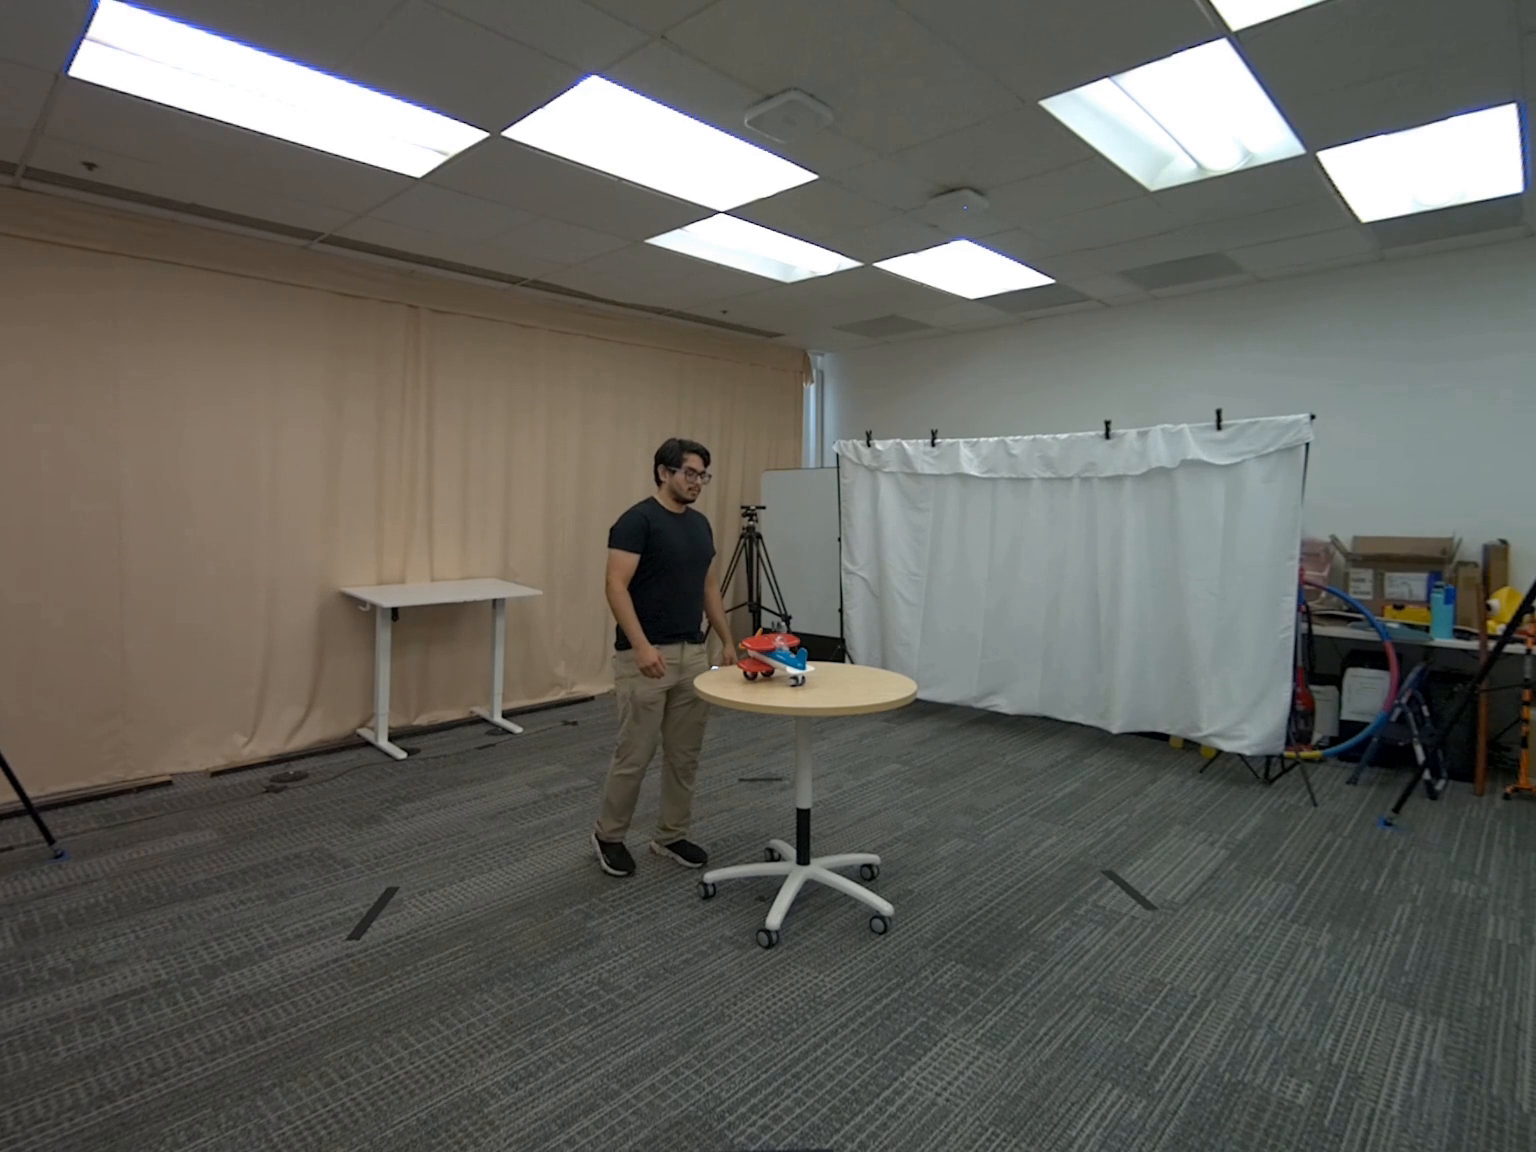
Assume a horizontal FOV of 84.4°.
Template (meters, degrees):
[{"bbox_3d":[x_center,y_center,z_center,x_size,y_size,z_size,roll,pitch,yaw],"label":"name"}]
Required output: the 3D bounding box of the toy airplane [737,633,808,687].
[{"bbox_3d":[0.041,0.289,2.928,0.264,0.156,0.247,-1,4,18],"label":"toy airplane"}]
